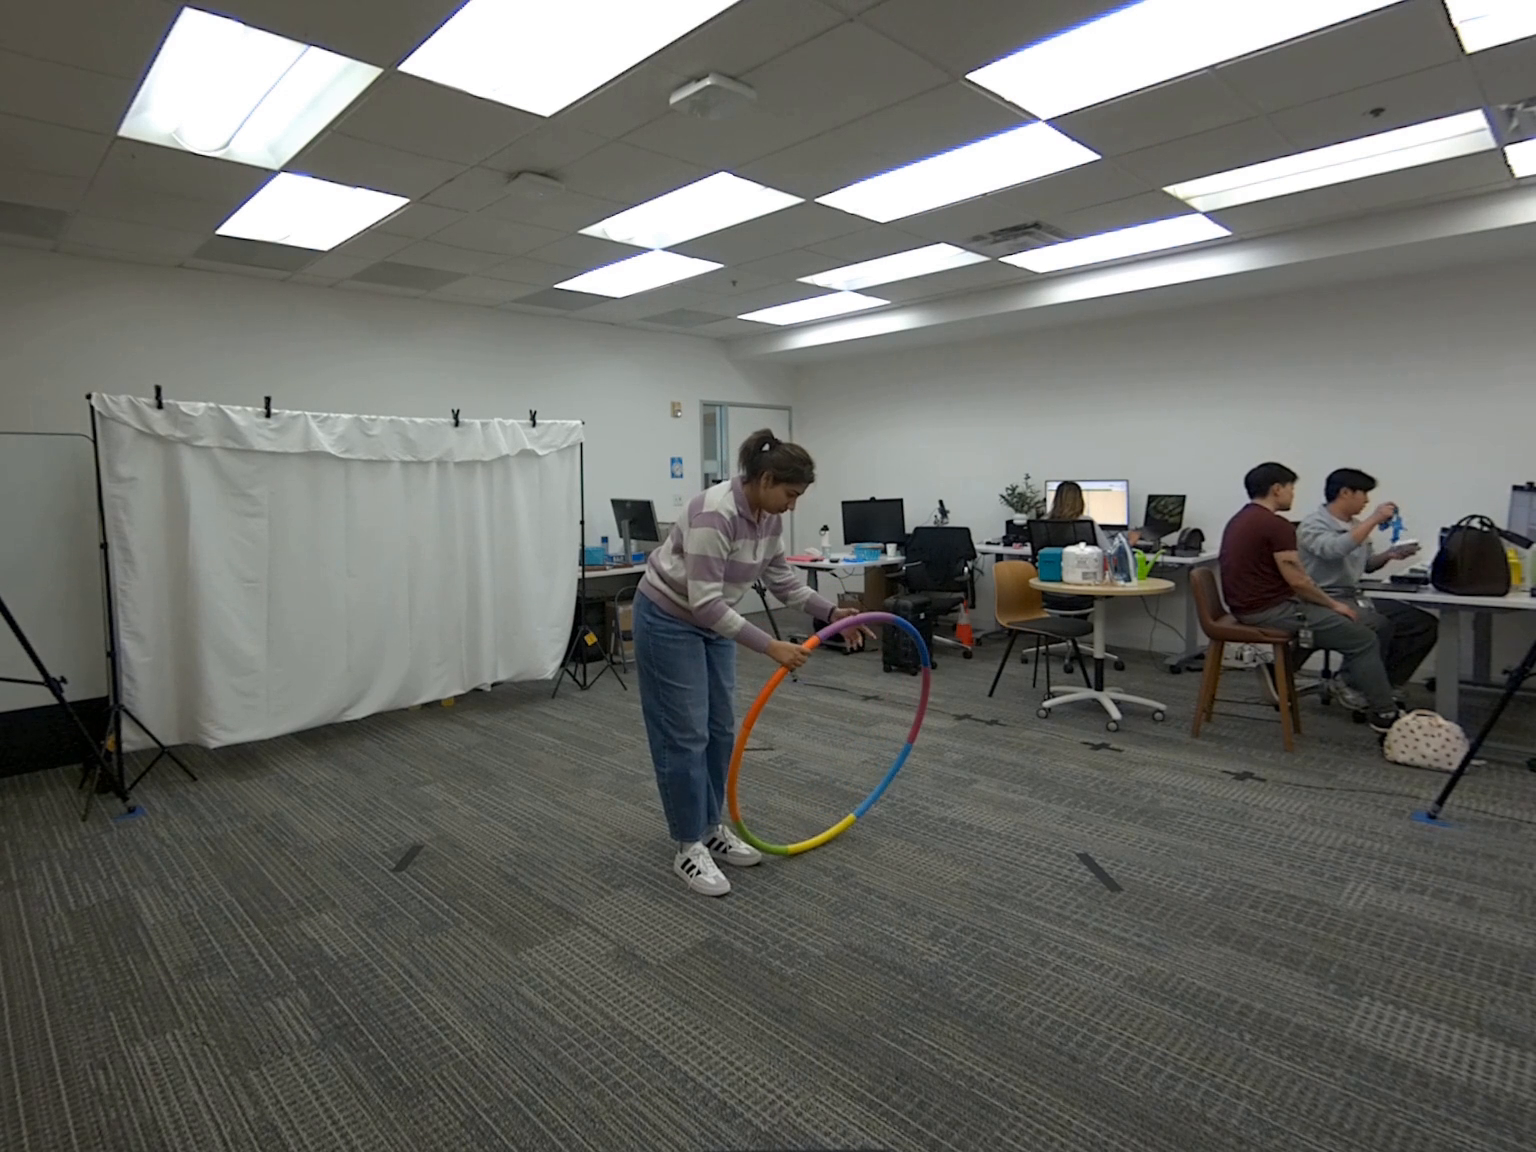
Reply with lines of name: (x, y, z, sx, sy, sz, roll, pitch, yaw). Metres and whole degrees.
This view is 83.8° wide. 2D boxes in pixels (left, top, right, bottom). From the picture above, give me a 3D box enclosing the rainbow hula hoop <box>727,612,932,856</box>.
rainbow hula hoop: (0.252, 0.584, 3.088, 0.960, 0.973, 0.053, -5, 24, -40)
